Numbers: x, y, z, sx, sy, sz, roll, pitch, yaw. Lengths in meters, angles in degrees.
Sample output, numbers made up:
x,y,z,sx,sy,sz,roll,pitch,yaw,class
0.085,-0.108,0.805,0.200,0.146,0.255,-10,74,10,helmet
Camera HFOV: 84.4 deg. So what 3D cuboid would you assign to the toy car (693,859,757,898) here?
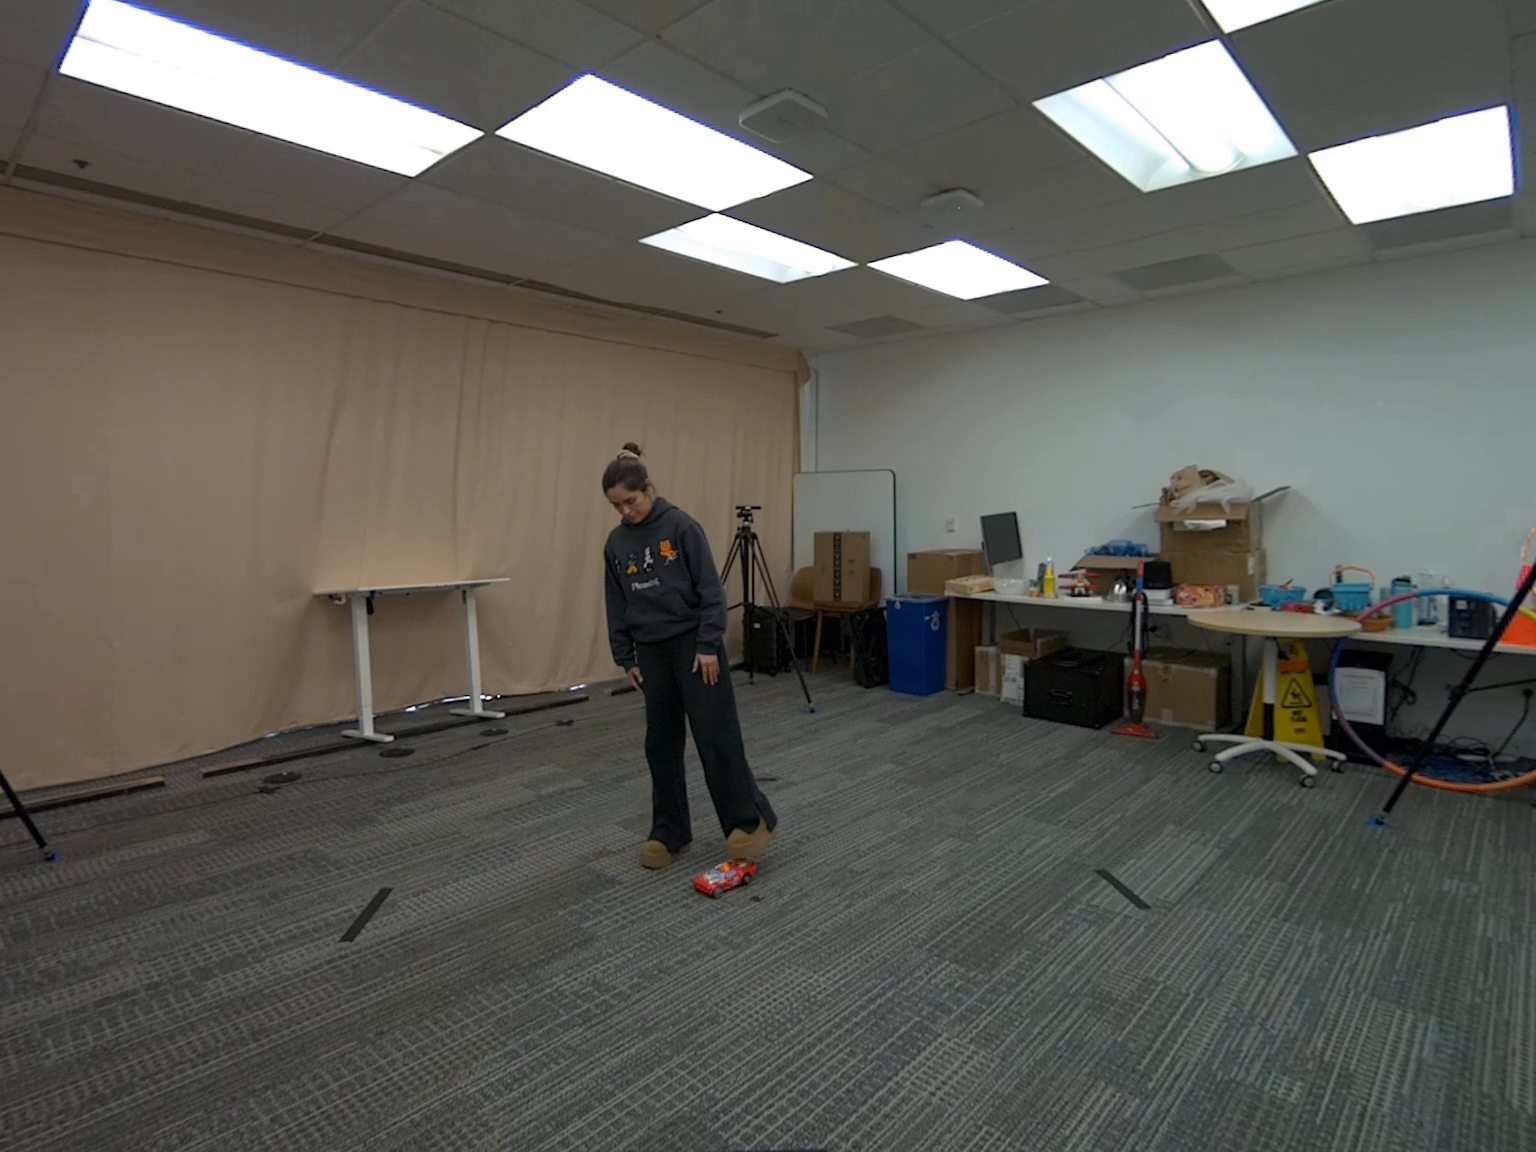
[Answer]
x,y,z,sx,sy,sz,roll,pitch,yaw,class
-0.133,1.103,3.088,0.134,0.082,0.248,3,17,45,toy car
